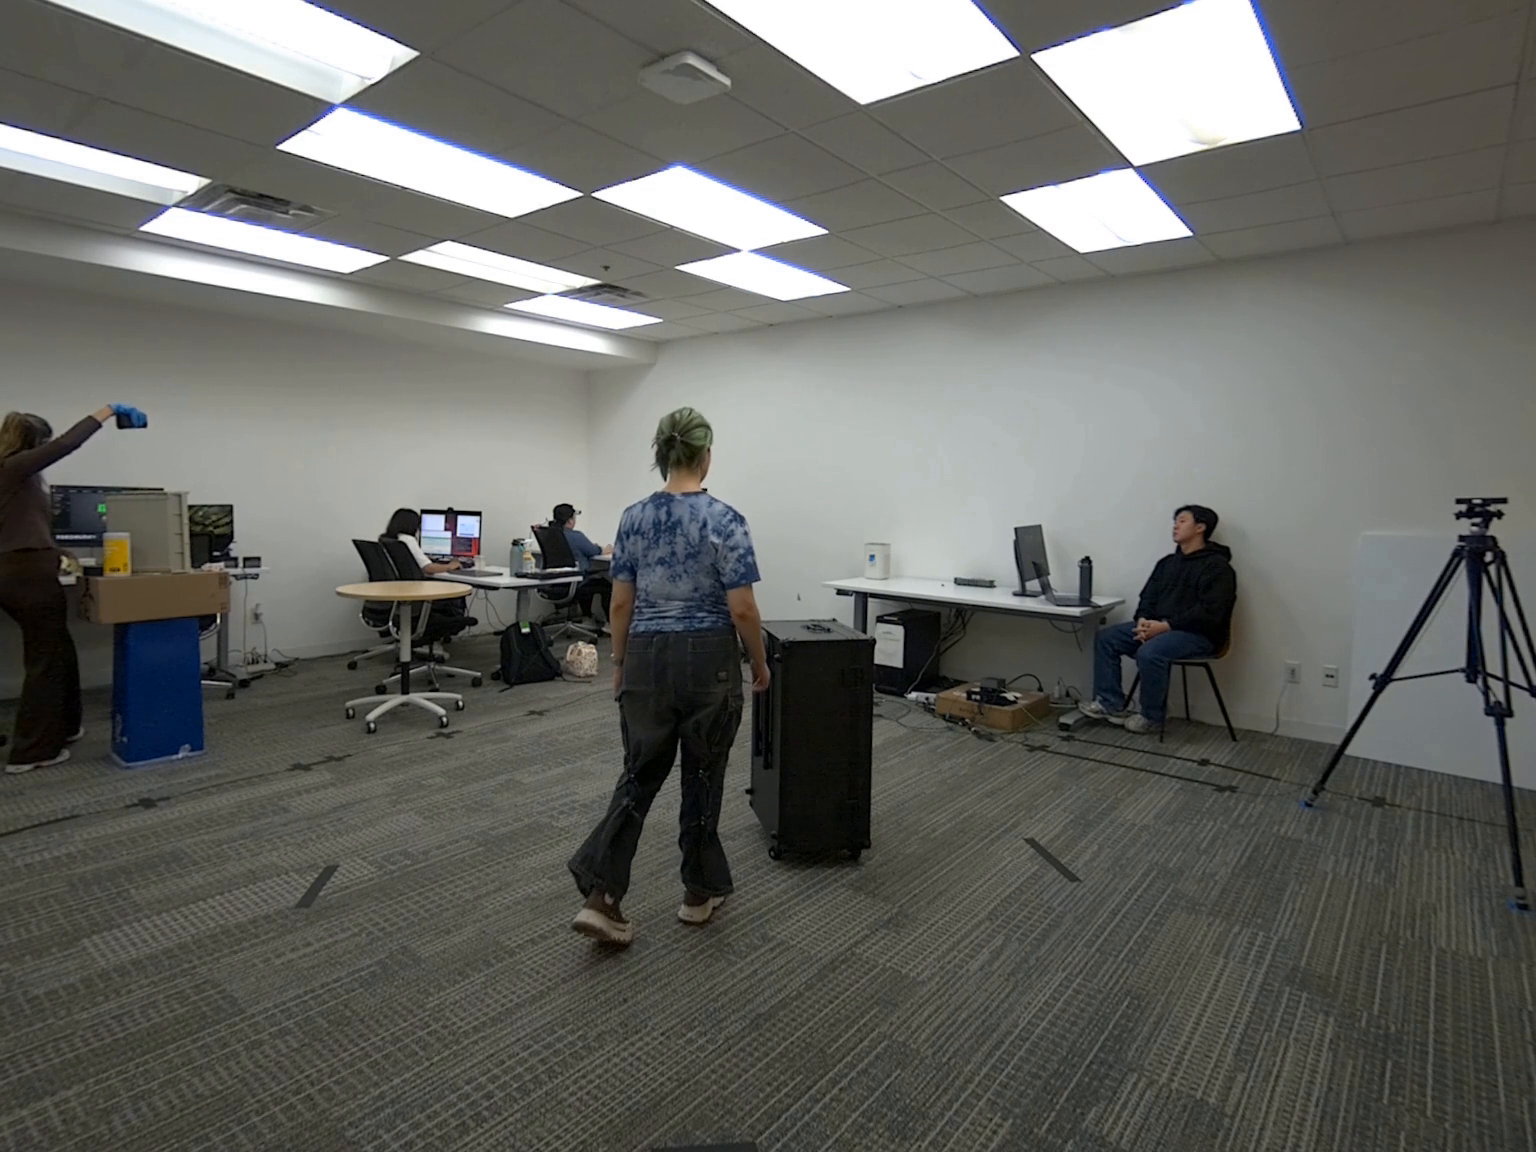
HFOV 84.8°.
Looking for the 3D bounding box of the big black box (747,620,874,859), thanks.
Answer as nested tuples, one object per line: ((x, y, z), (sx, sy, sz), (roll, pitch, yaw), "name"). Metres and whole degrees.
((0.148, 0.633, 3.334), (0.392, 0.858, 0.529), (0, 4, -11), "big black box")
